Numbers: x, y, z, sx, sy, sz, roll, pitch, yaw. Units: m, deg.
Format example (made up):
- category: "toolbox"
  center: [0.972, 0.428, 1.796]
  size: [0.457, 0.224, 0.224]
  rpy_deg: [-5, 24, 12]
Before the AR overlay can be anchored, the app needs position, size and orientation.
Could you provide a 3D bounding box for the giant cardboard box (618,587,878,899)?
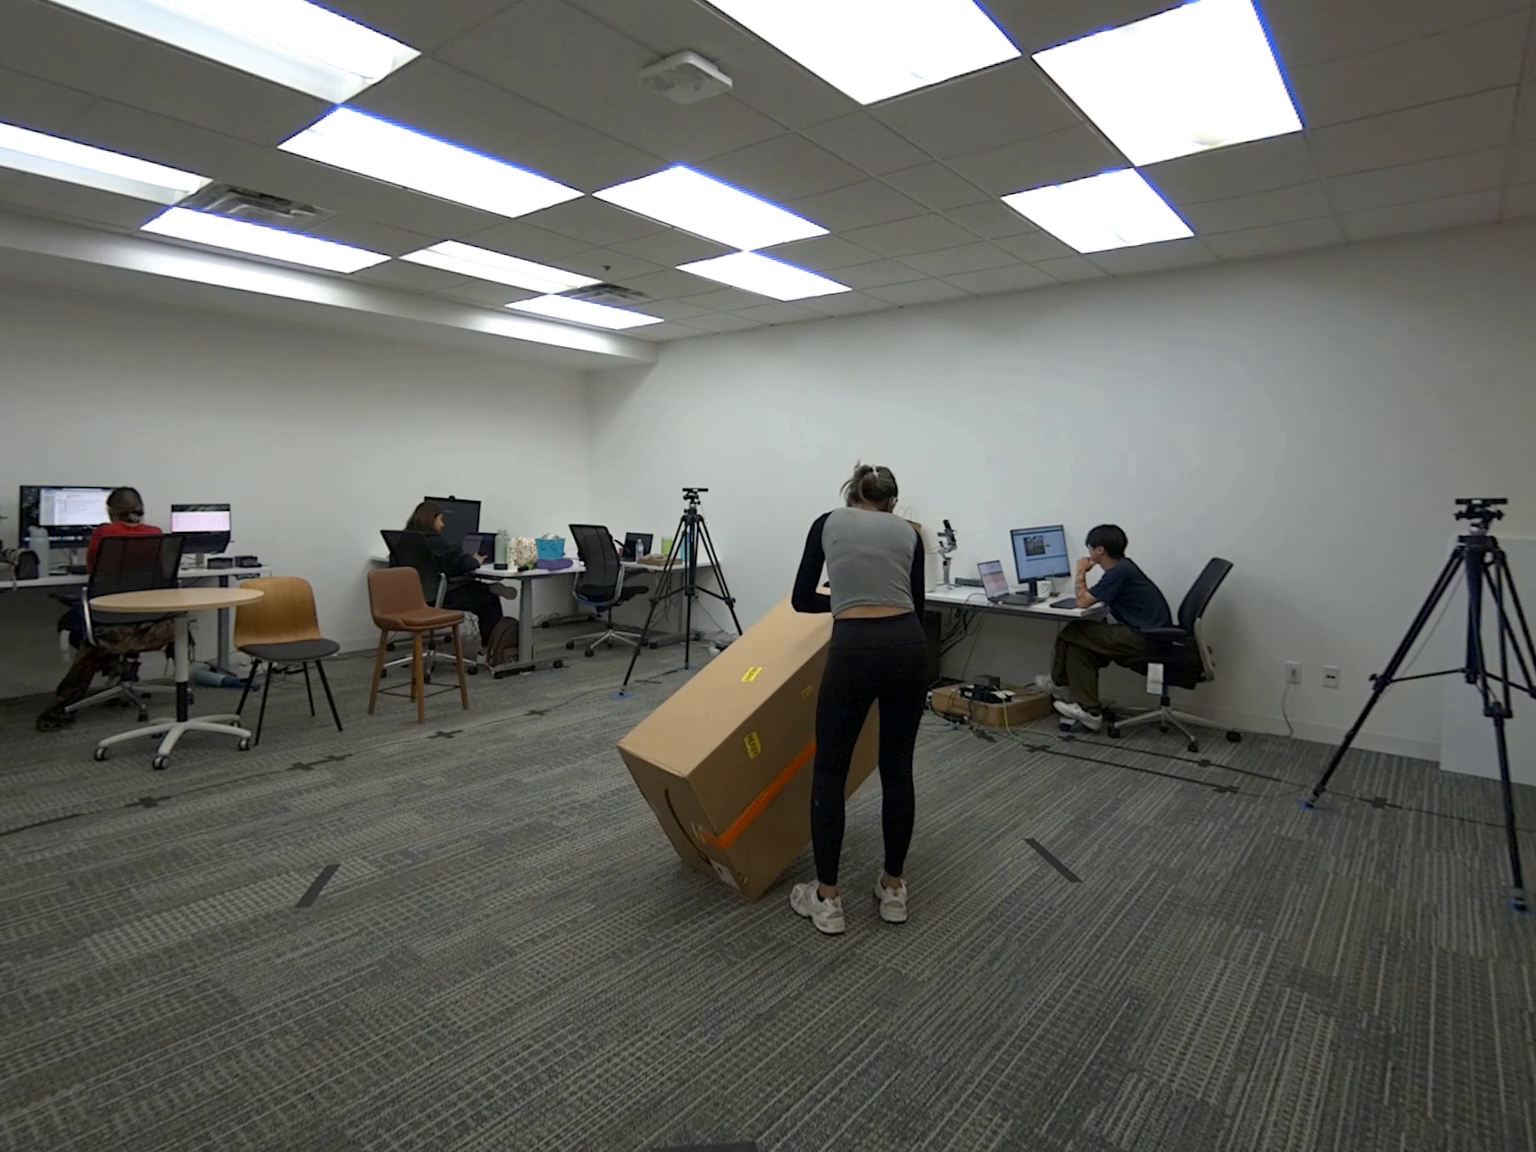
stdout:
- category: "giant cardboard box"
  center: [0.024, 0.569, 3.166]
  size: [1.021, 0.568, 0.462]
  rpy_deg: [-40, 28, -31]
